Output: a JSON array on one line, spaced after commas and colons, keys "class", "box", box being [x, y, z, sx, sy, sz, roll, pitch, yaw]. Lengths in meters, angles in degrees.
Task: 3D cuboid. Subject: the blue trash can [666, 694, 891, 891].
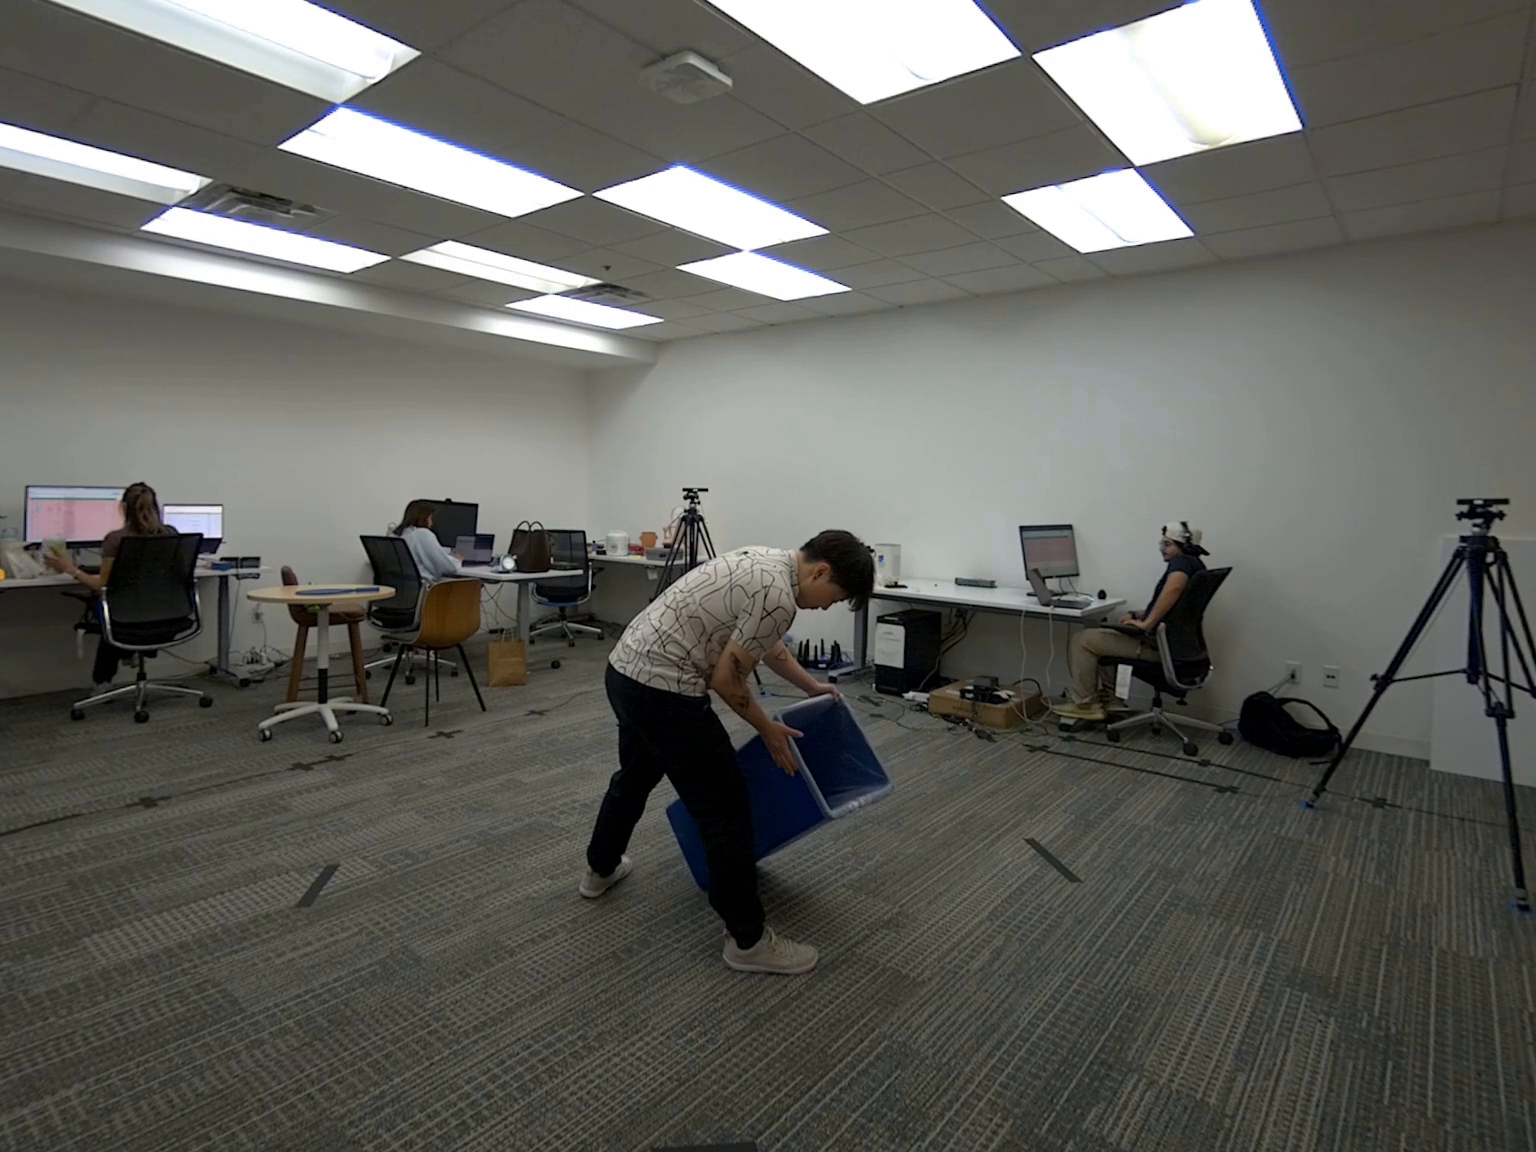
[{"class": "blue trash can", "box": [-0.004, 0.752, 2.918, 0.363, 0.388, 0.715, -5, -31, -48]}]
